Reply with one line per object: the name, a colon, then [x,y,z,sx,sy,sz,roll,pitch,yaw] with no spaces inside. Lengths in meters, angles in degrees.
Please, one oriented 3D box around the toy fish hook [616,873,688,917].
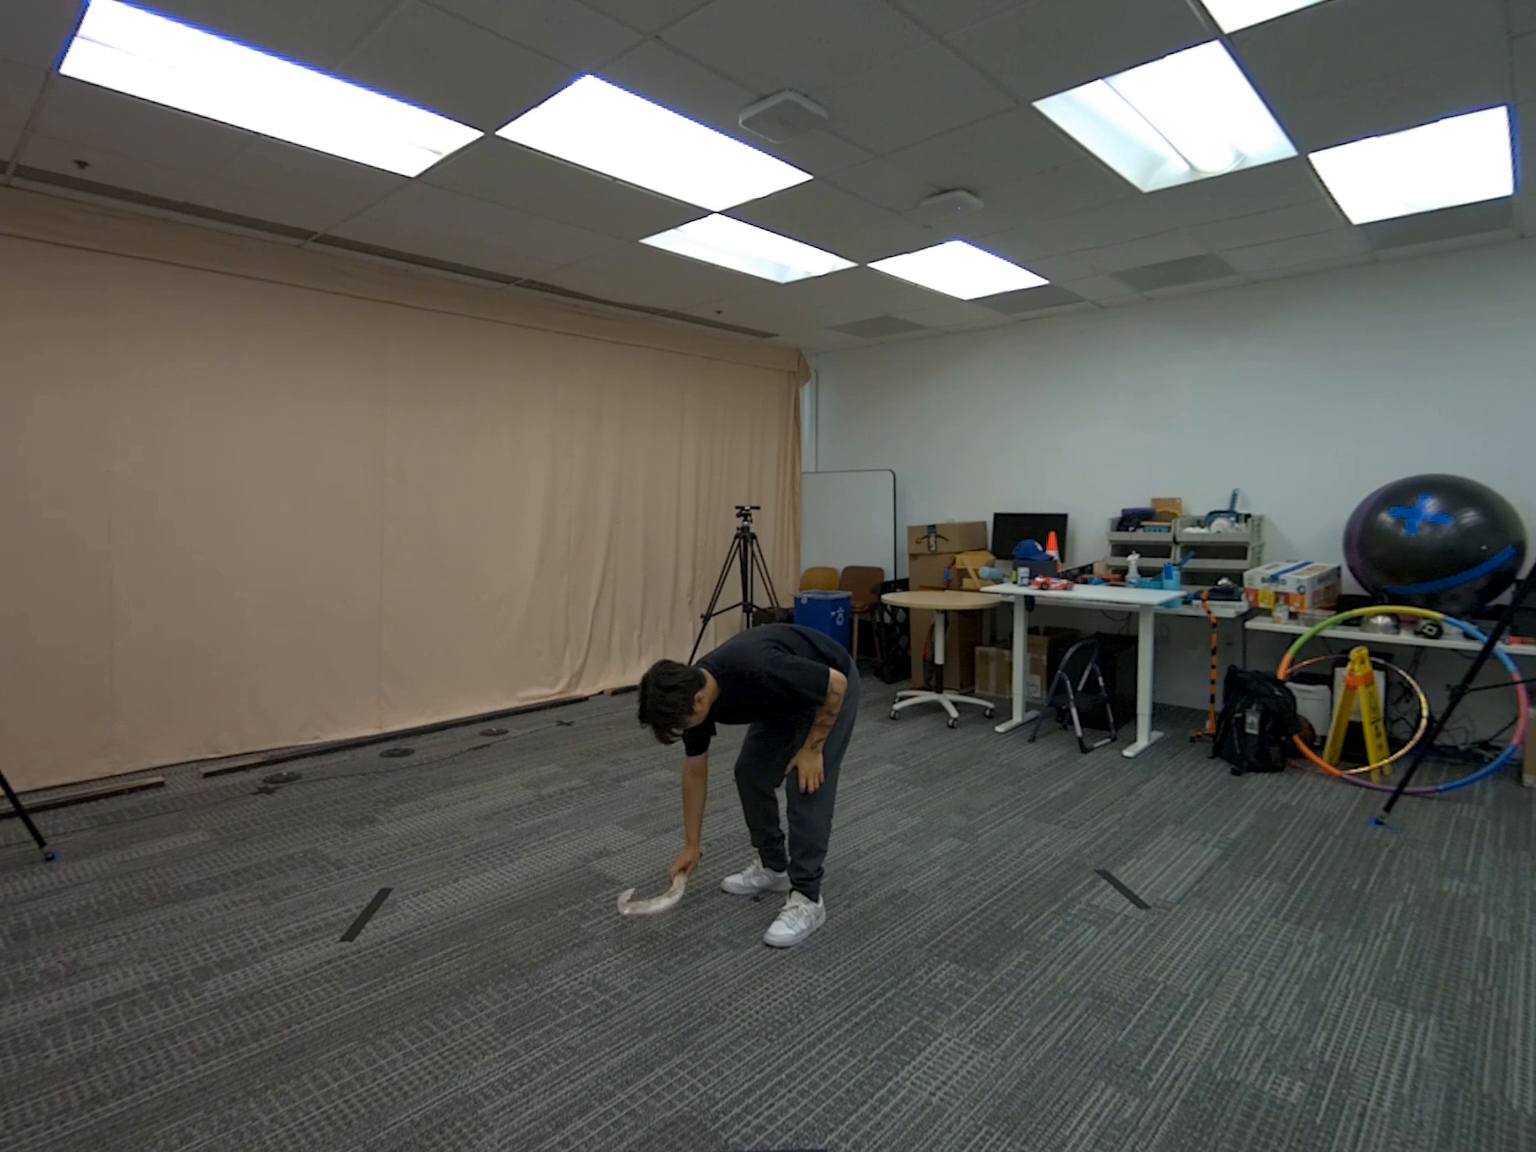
toy fish hook: [-0.352,1.035,2.853,0.227,0.048,0.499,-6,-1,12]
